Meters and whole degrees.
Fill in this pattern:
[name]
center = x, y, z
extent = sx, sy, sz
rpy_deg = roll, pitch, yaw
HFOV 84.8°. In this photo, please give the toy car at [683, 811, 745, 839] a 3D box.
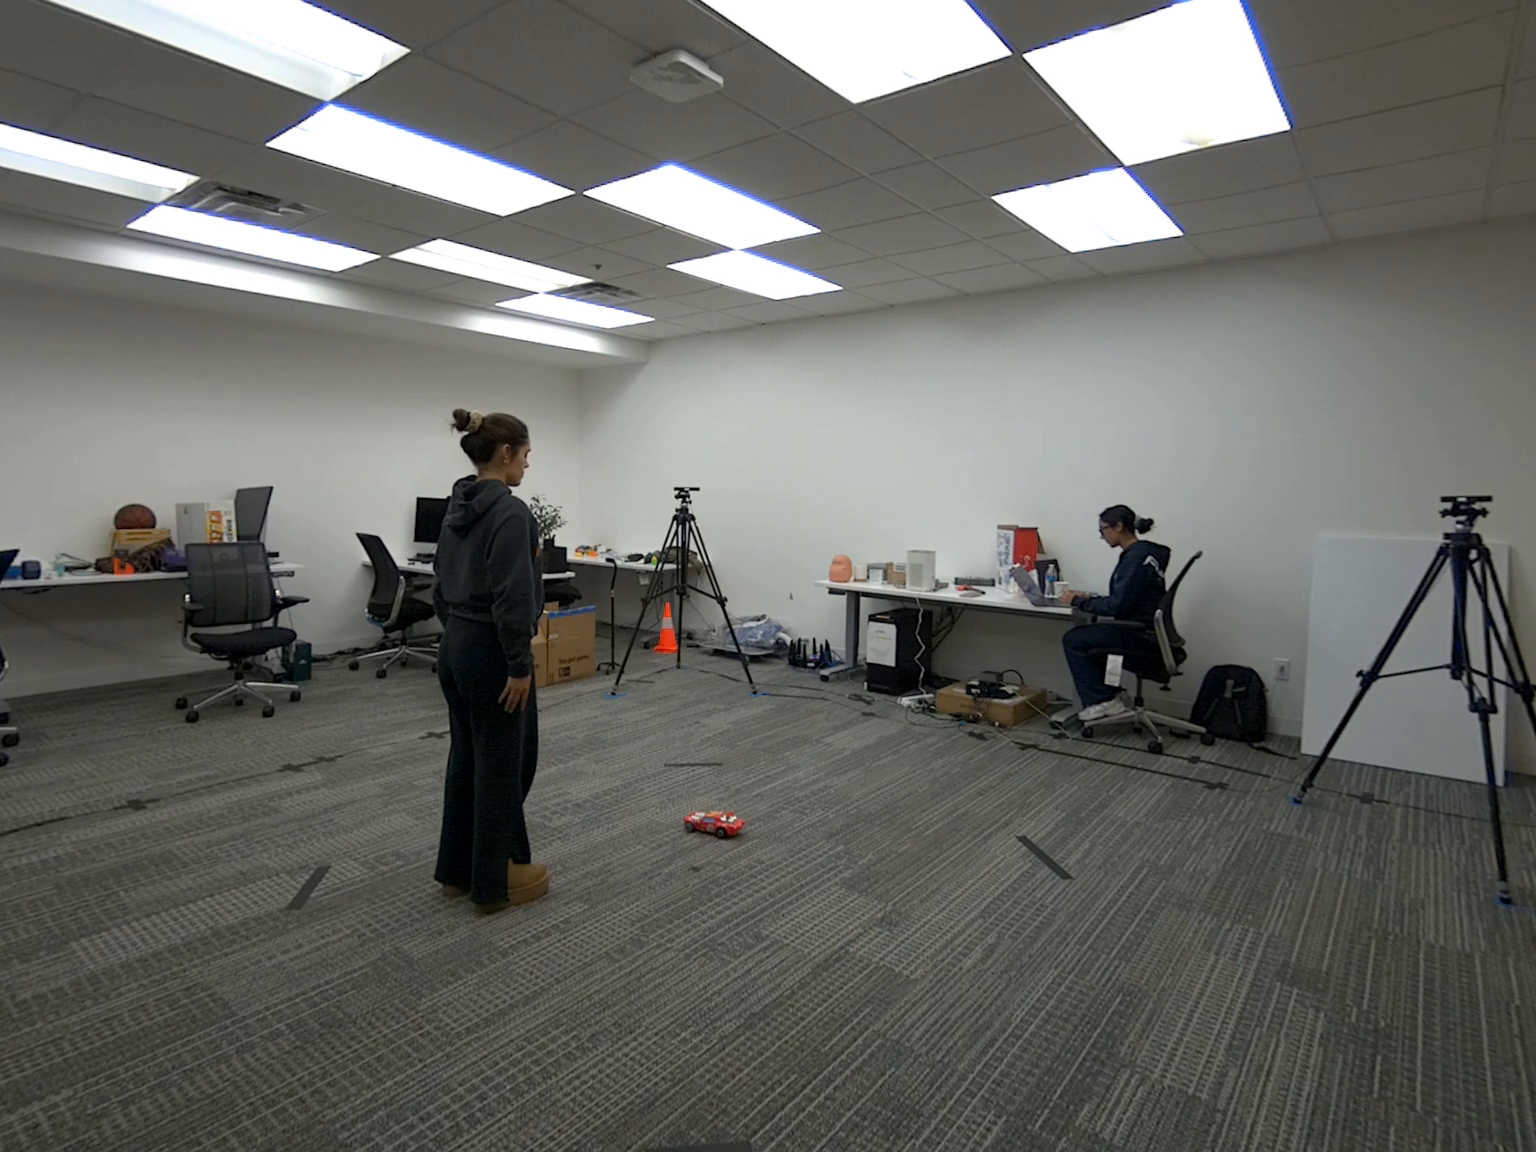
[toy car]
center = -0.217, 1.003, 3.448
extent = 0.260, 0.083, 0.127
rpy_deg = -8, 0, 25
